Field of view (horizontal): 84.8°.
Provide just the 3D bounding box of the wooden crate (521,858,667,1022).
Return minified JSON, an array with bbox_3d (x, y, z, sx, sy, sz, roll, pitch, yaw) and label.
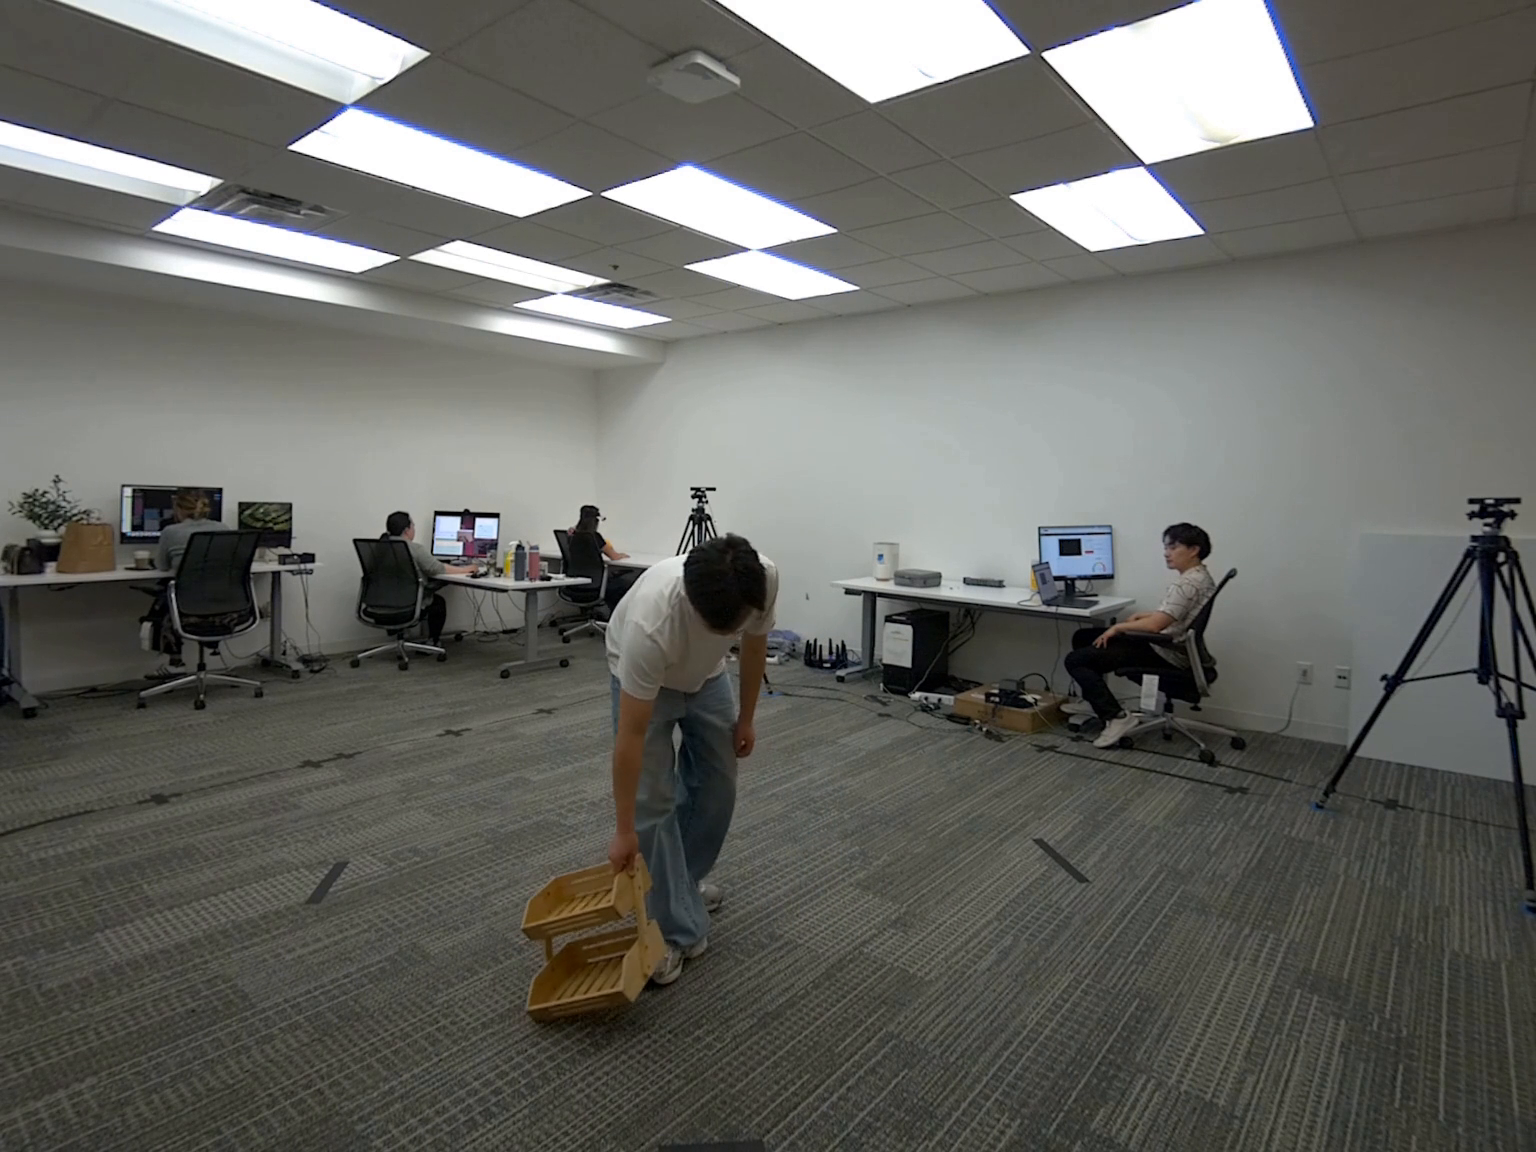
[{"bbox_3d":[-0.487,0.964,2.271,0.328,0.274,0.298,-22,0,20],"label":"wooden crate"}]
